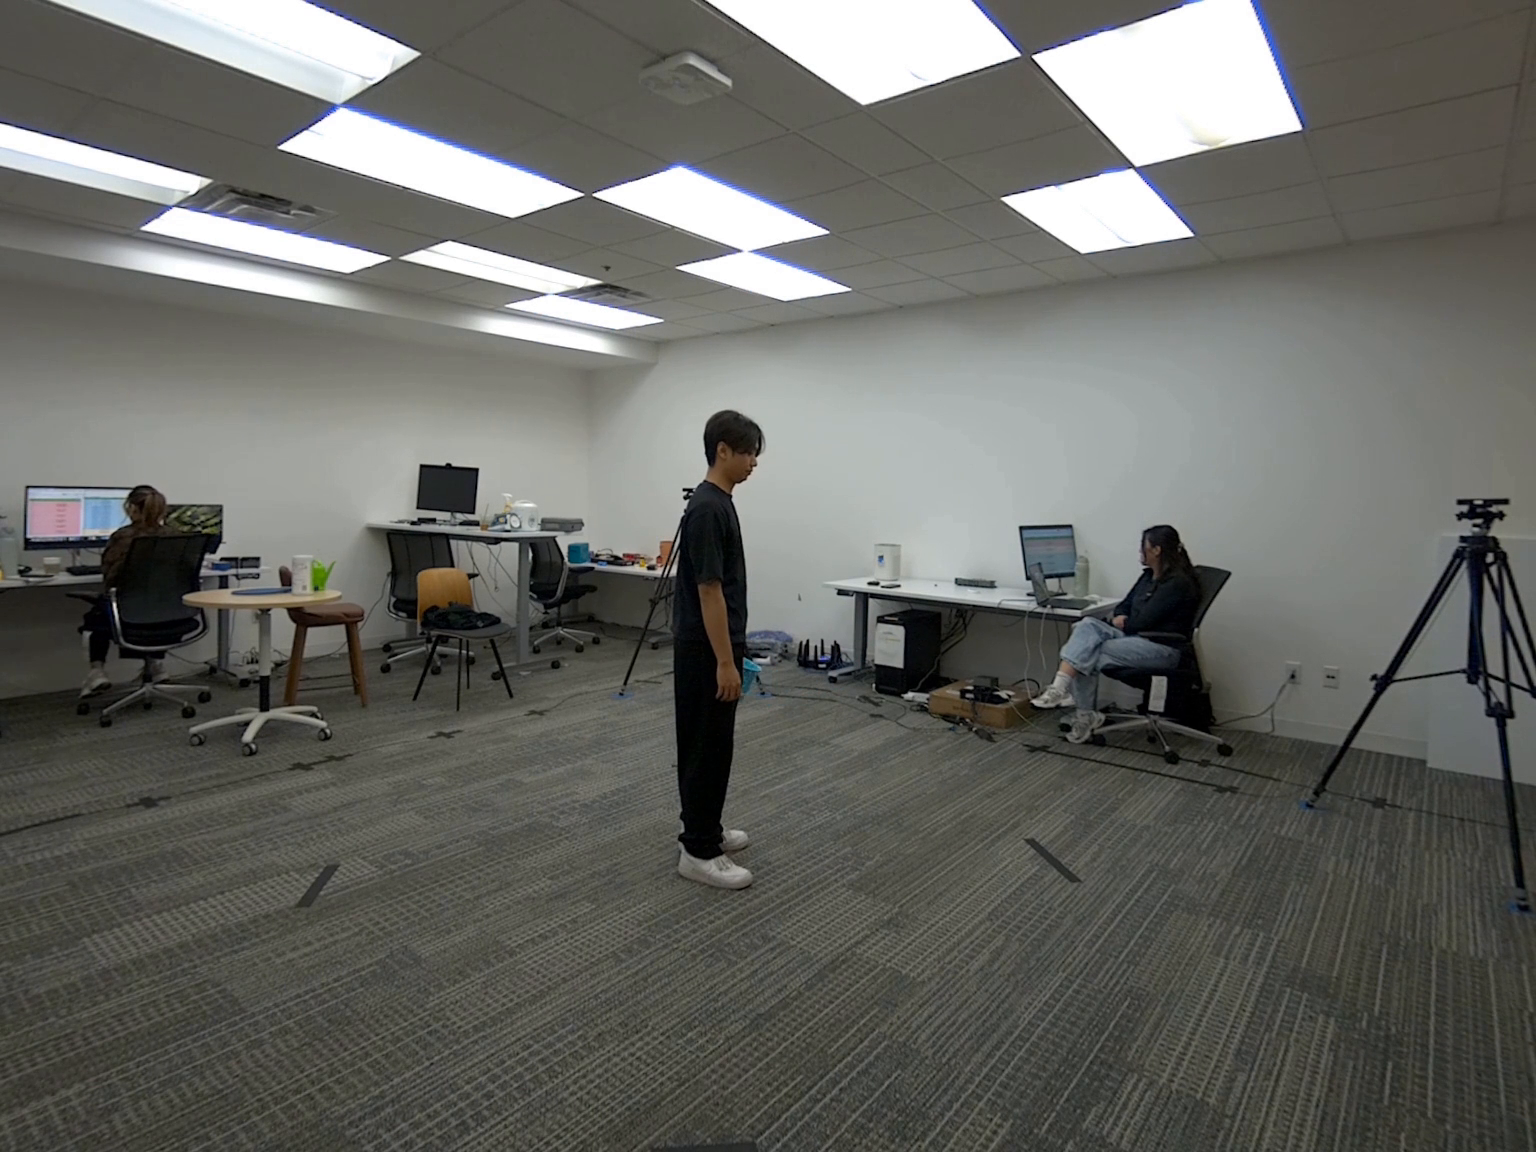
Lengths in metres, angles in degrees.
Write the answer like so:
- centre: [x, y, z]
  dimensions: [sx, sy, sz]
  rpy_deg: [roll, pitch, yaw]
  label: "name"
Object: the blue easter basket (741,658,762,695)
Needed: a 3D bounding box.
- centre: [-0.165, 0.399, 3.489]
  dimensions: [0.243, 0.156, 0.244]
  rpy_deg: [21, 2, -3]
  label: "blue easter basket"
